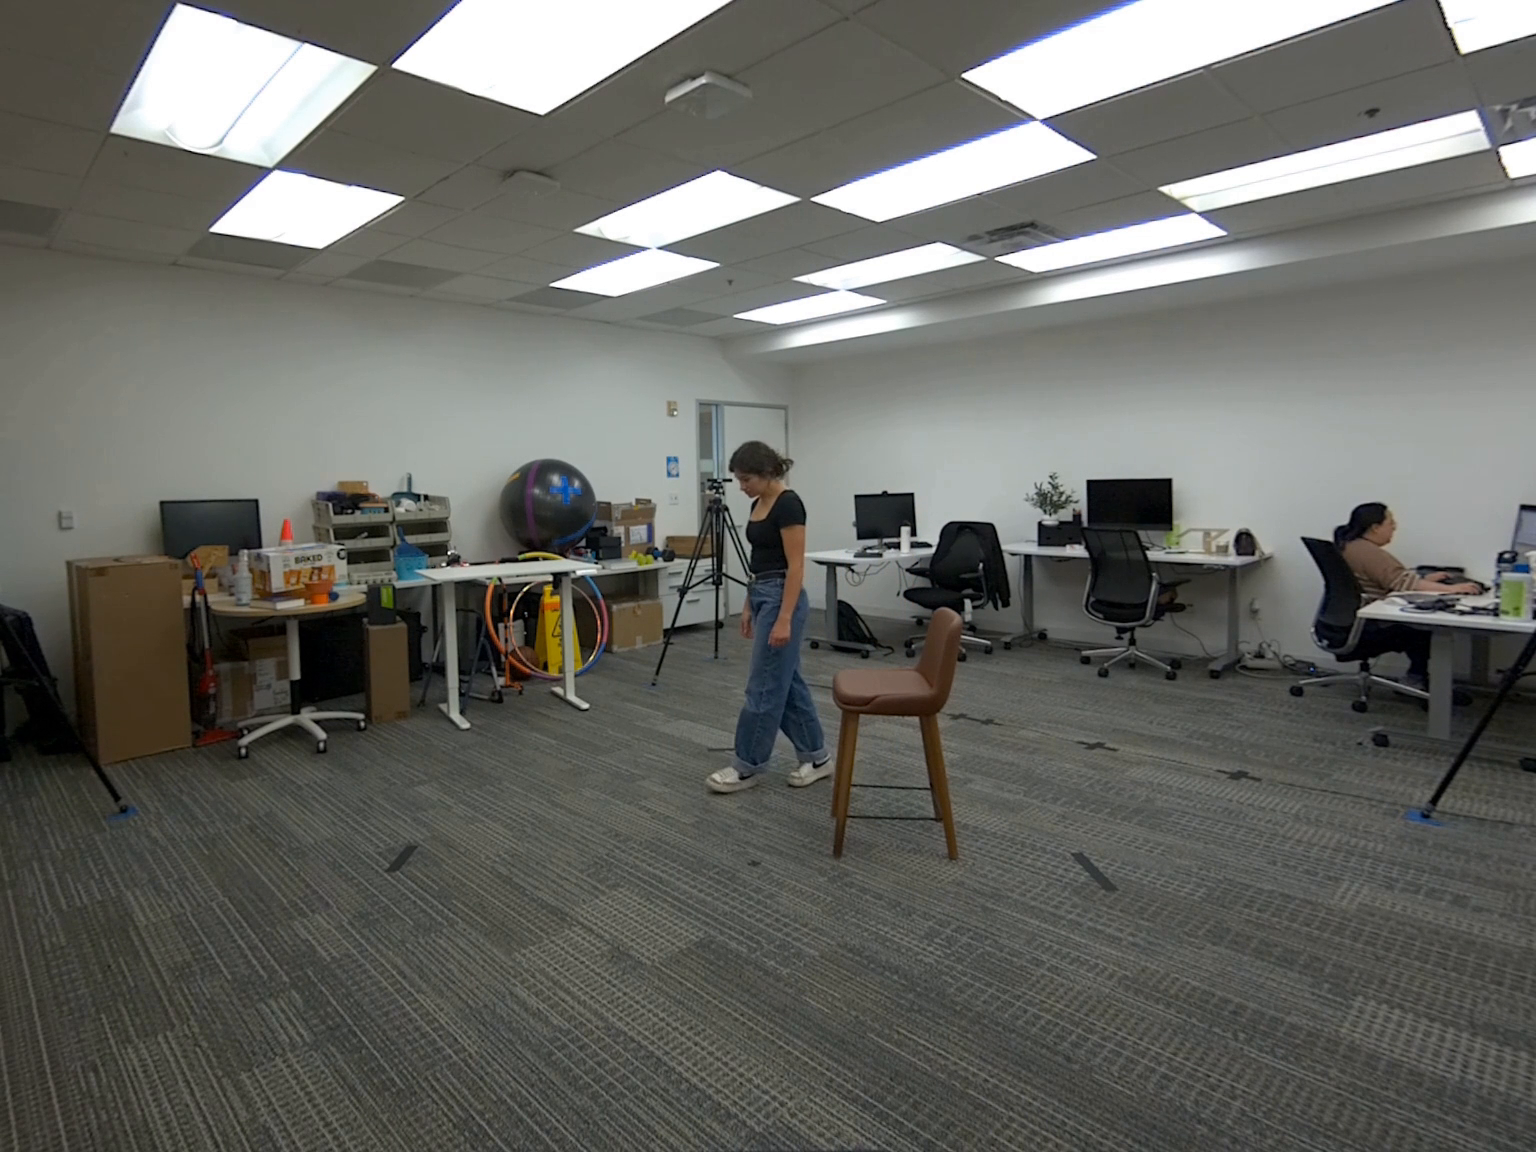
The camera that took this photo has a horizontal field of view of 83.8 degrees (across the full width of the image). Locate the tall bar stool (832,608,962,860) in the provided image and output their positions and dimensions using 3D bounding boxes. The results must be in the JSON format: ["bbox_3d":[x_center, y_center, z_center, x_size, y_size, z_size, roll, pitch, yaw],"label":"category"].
[{"bbox_3d":[0.481,0.577,3.290,0.470,0.887,0.456,1,4,5],"label":"tall bar stool"}]
